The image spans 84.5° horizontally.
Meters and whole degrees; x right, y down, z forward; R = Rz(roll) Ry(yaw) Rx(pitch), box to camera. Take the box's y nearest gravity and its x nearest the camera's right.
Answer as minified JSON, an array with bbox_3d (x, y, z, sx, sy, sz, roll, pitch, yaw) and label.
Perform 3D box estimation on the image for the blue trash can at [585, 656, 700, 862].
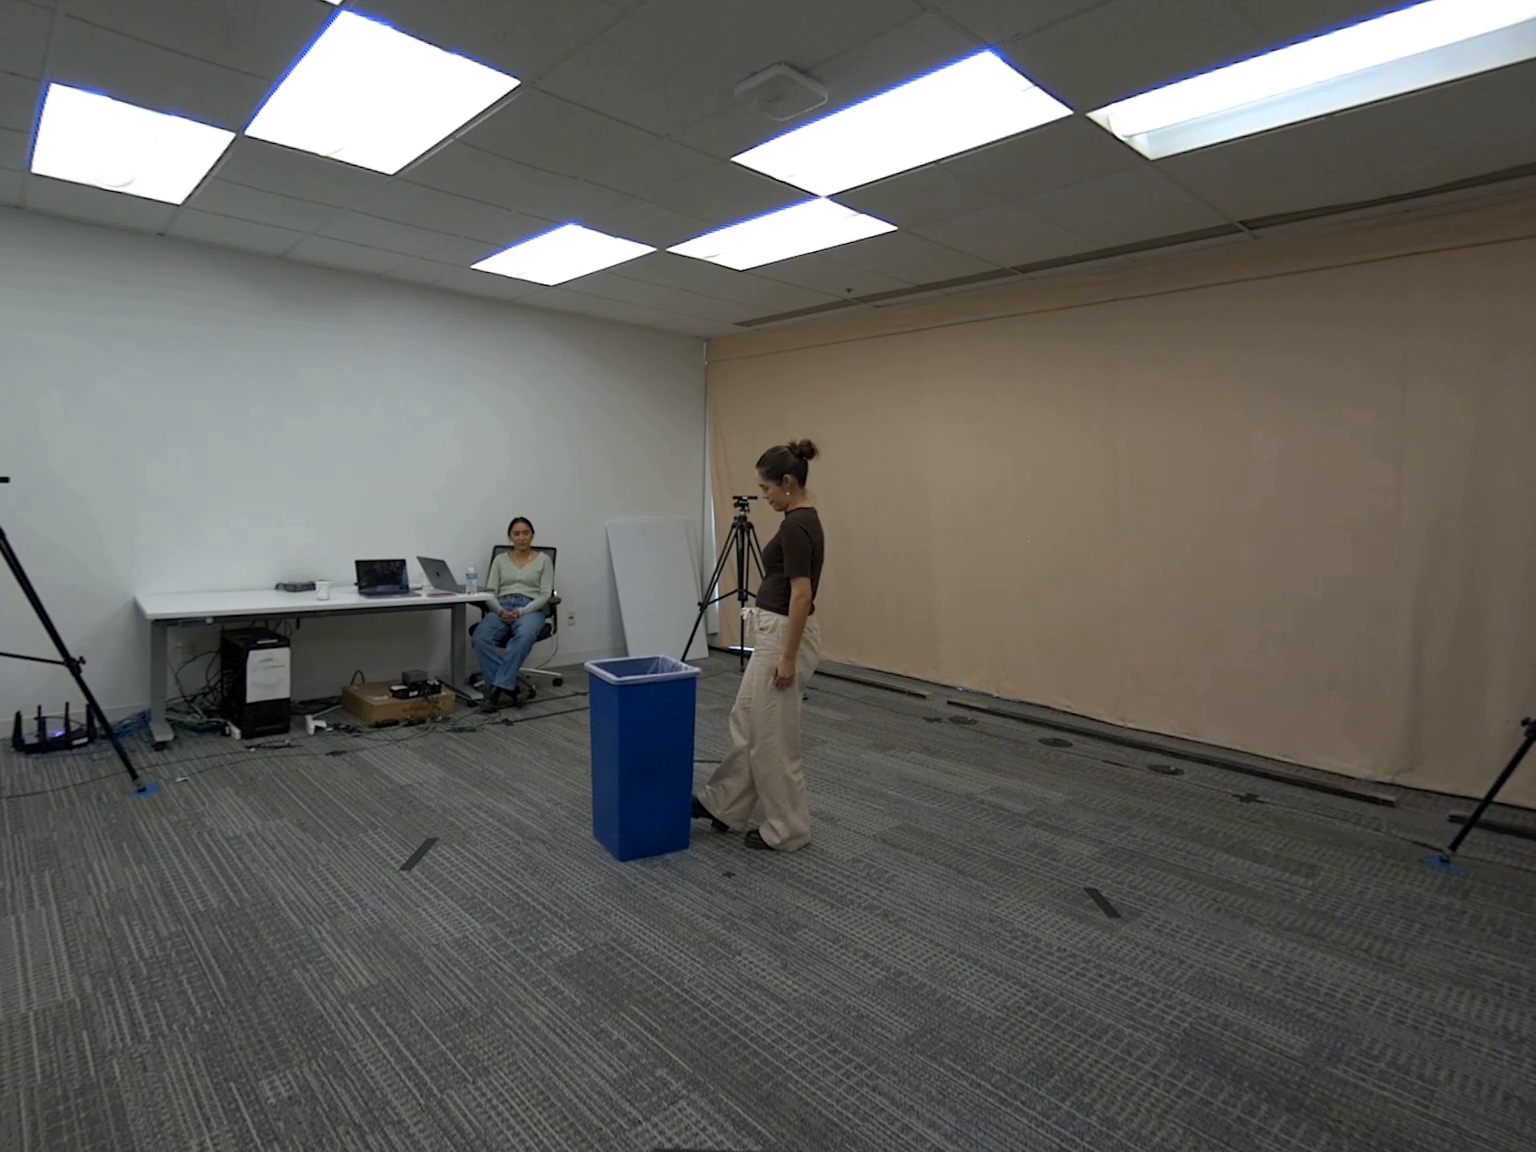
[{"bbox_3d":[-0.519,0.712,3.367,0.370,0.712,0.383,-1,4,-32],"label":"blue trash can"}]
